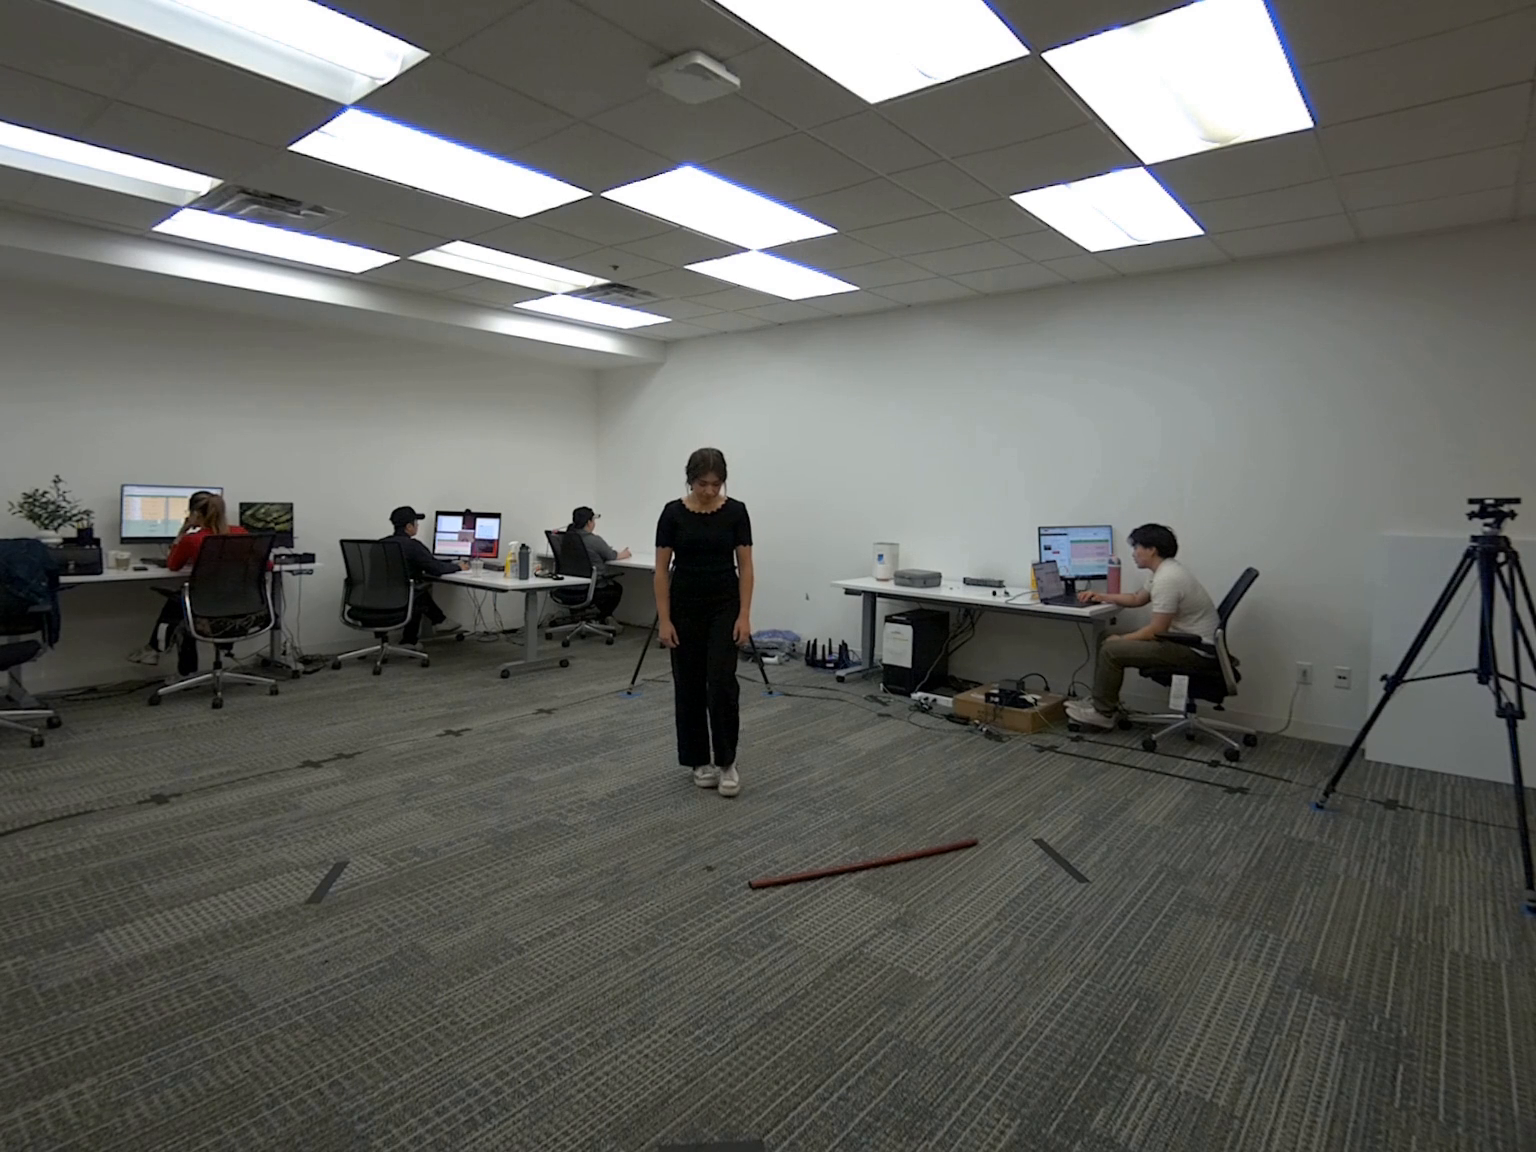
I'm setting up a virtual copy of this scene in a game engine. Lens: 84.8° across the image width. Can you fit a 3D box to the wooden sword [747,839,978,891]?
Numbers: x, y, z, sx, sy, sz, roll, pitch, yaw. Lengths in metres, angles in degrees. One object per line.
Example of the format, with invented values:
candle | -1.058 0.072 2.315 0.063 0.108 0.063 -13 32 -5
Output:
wooden sword | 0.390 1.060 3.164 1.000 0.052 0.024 -1 -25 -25
